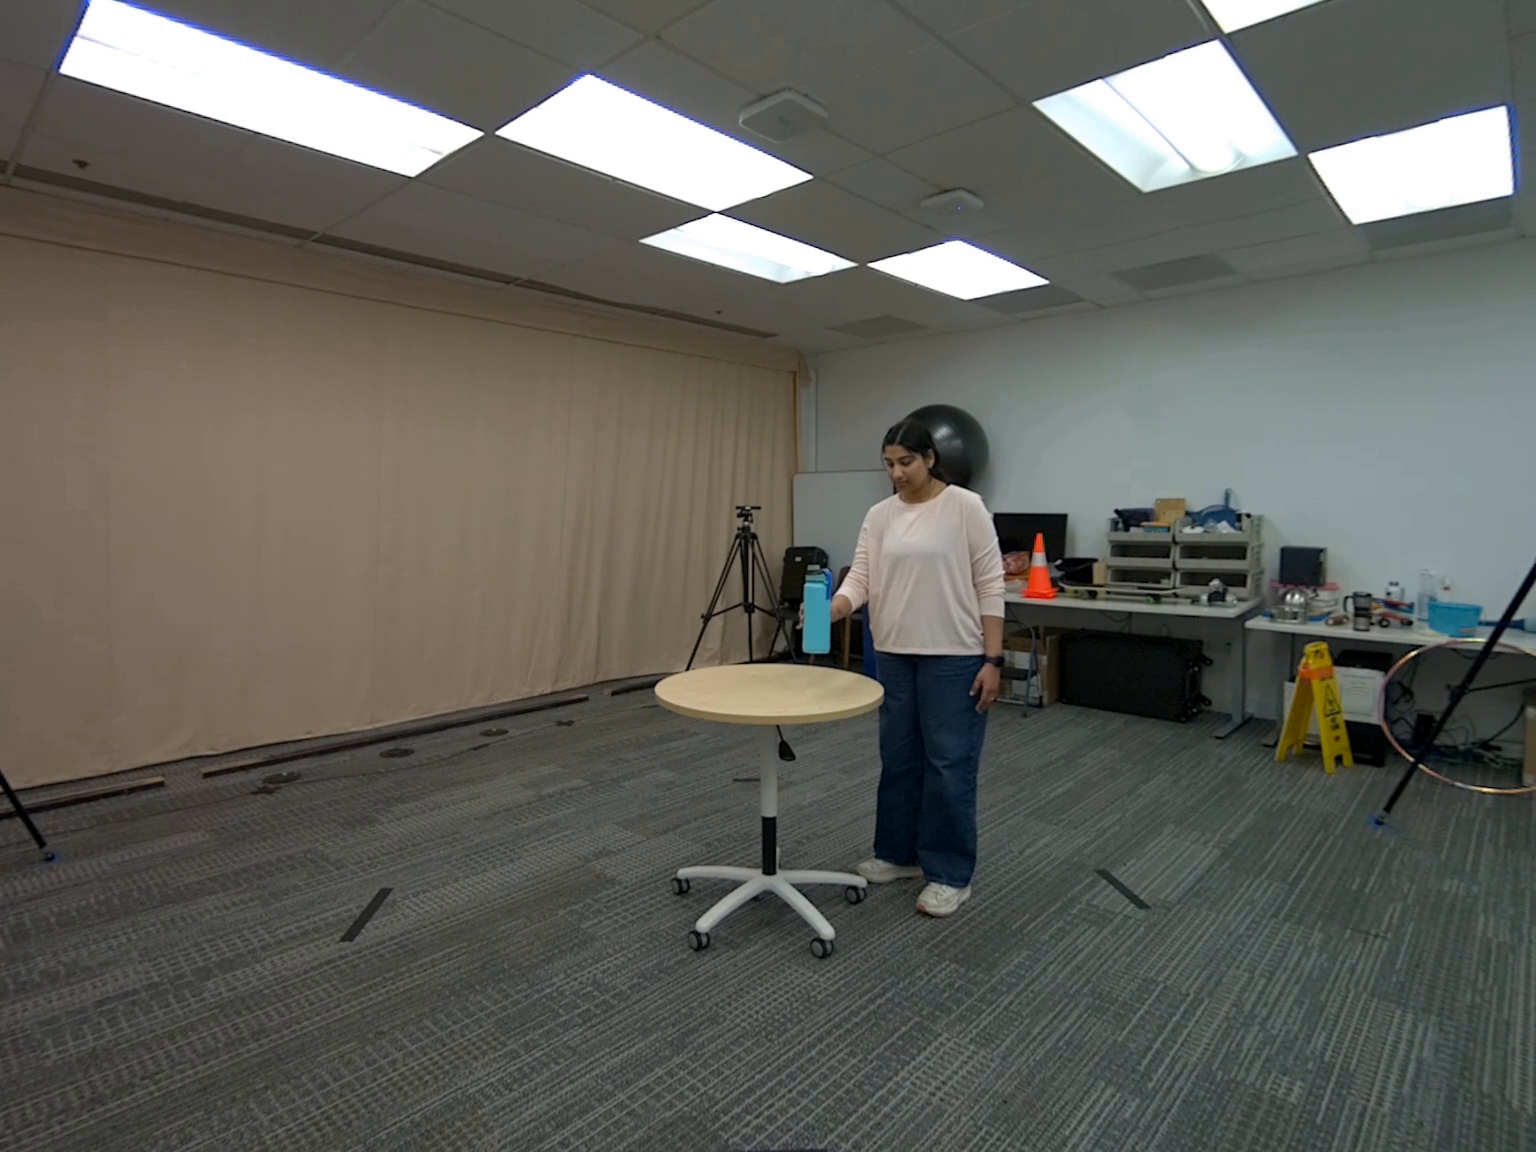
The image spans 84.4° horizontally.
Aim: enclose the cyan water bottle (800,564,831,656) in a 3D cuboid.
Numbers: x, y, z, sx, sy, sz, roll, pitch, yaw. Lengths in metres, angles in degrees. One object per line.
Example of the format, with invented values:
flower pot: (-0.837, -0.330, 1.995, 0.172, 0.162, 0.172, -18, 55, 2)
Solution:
cyan water bottle: (0.180, 0.109, 2.761, 0.092, 0.283, 0.092, 3, 2, -2)
